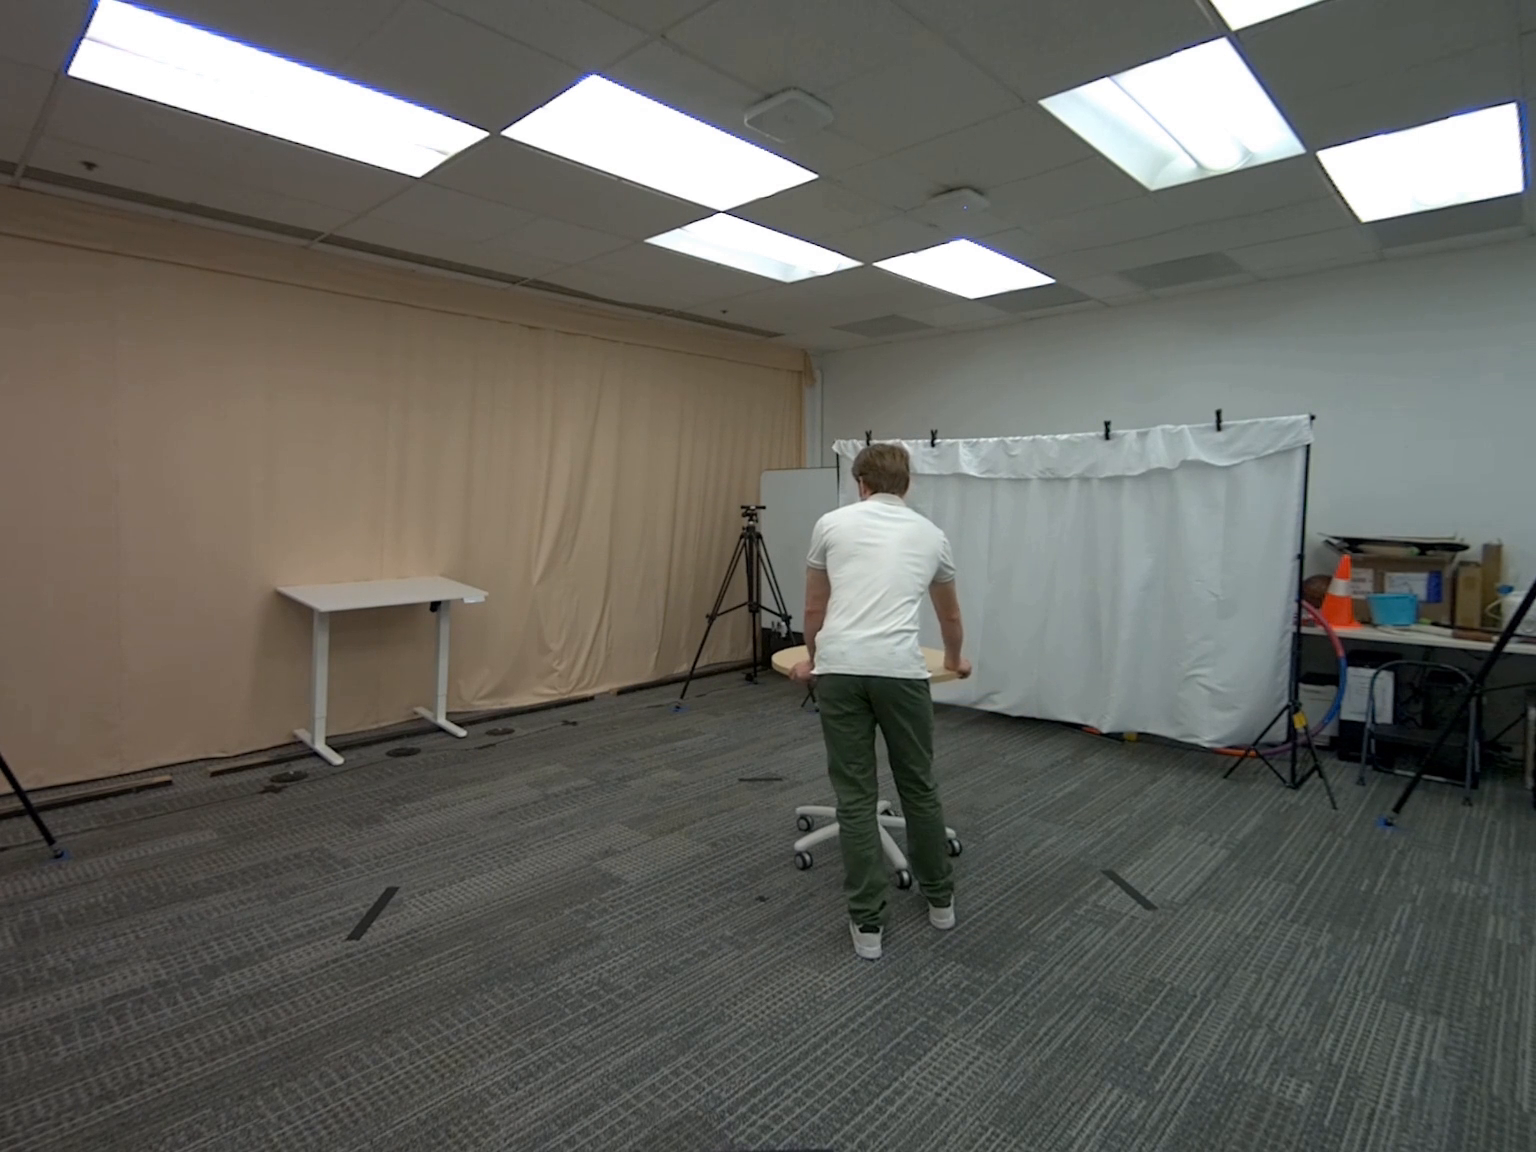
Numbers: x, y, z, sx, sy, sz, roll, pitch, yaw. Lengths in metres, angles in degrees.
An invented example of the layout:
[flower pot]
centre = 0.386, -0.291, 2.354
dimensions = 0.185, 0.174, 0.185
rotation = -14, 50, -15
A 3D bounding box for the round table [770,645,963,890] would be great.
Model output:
[round table]
centre = 0.402, 0.720, 3.394
dimensions = 0.763, 0.792, 0.767
rotation = 0, 4, -2
